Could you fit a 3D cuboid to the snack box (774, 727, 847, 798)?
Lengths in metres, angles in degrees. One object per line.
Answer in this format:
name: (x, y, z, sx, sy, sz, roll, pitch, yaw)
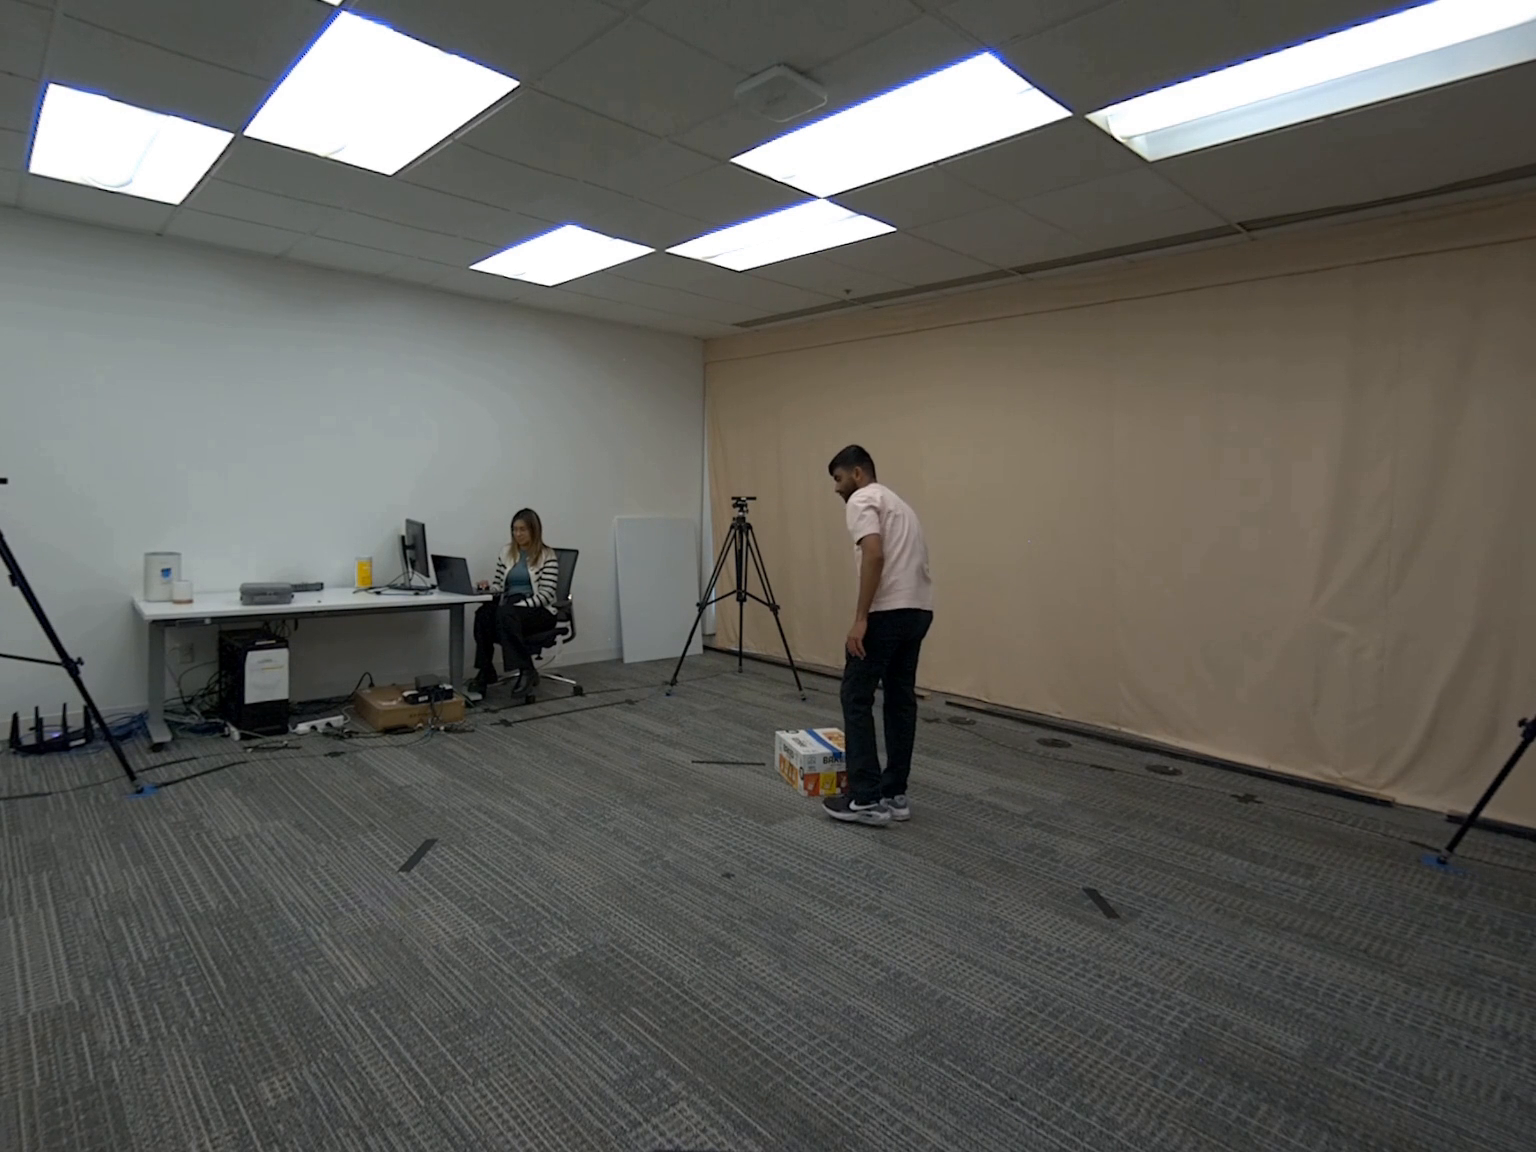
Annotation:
snack box: (0.245, 0.920, 4.208, 0.336, 0.205, 0.412, 0, 5, -17)
